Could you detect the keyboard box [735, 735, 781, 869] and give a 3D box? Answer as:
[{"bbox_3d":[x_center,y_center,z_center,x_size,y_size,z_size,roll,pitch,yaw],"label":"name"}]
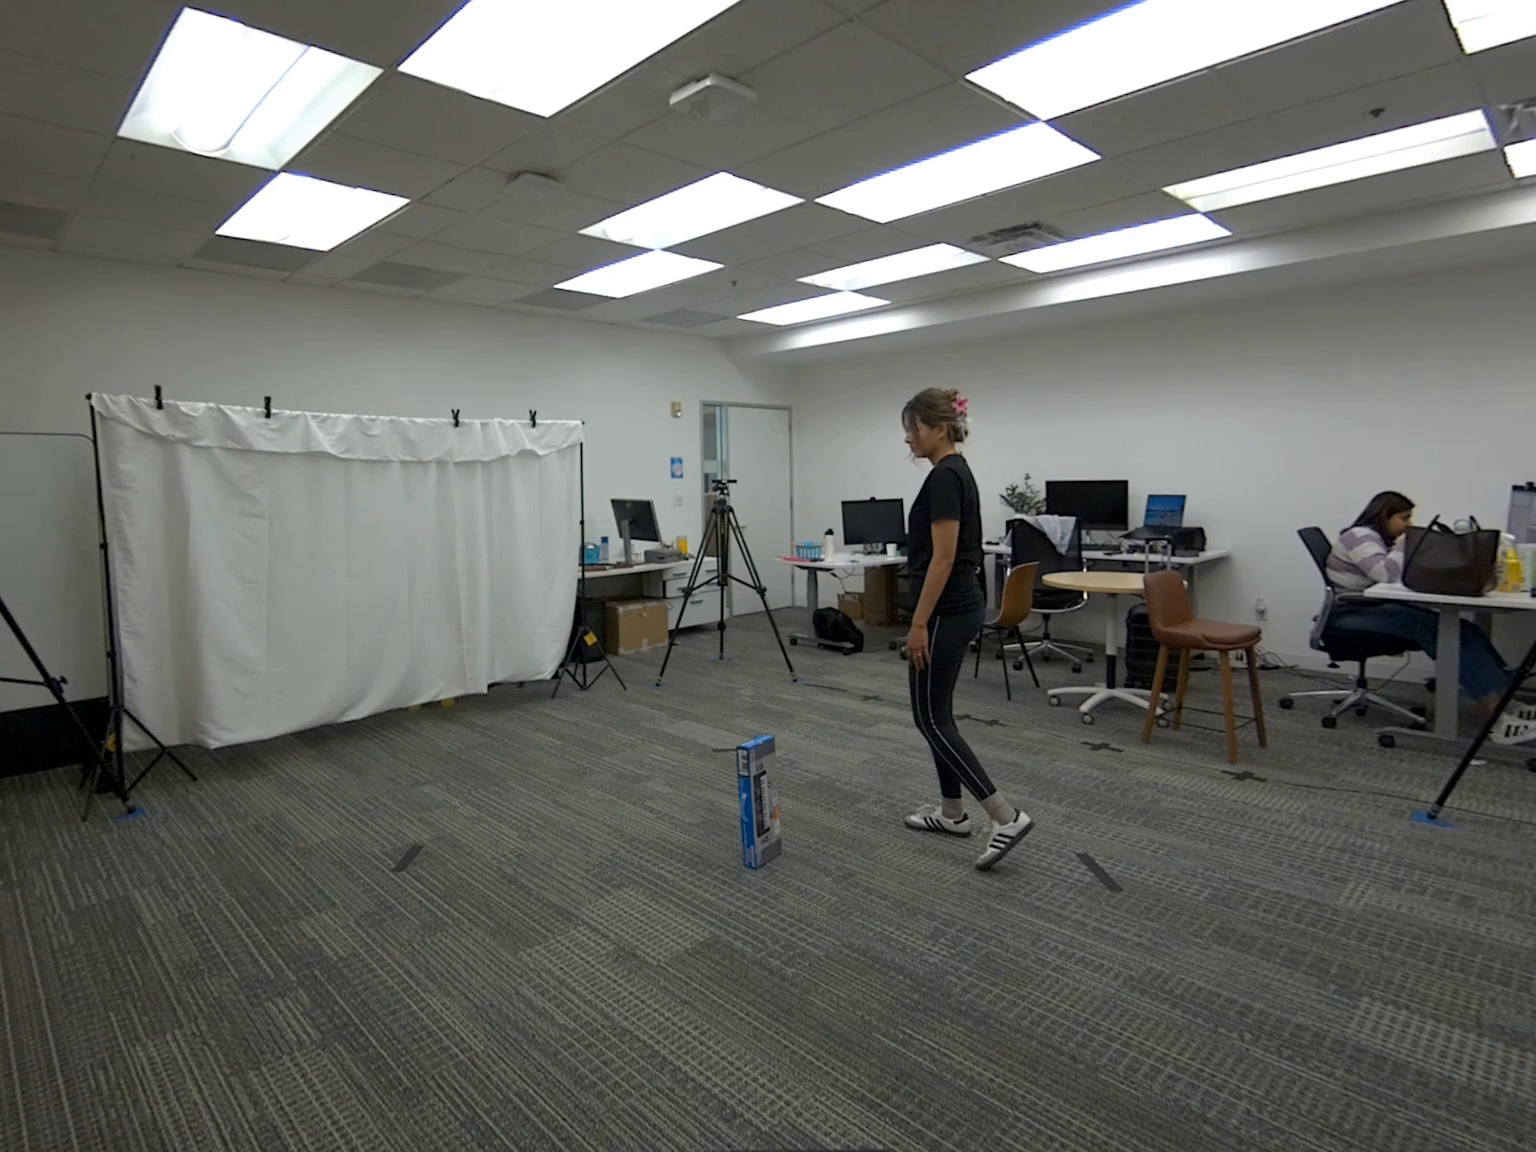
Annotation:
[{"bbox_3d":[-0.029,0.825,3.139,0.060,0.436,0.172,-3,2,33],"label":"keyboard box"}]
